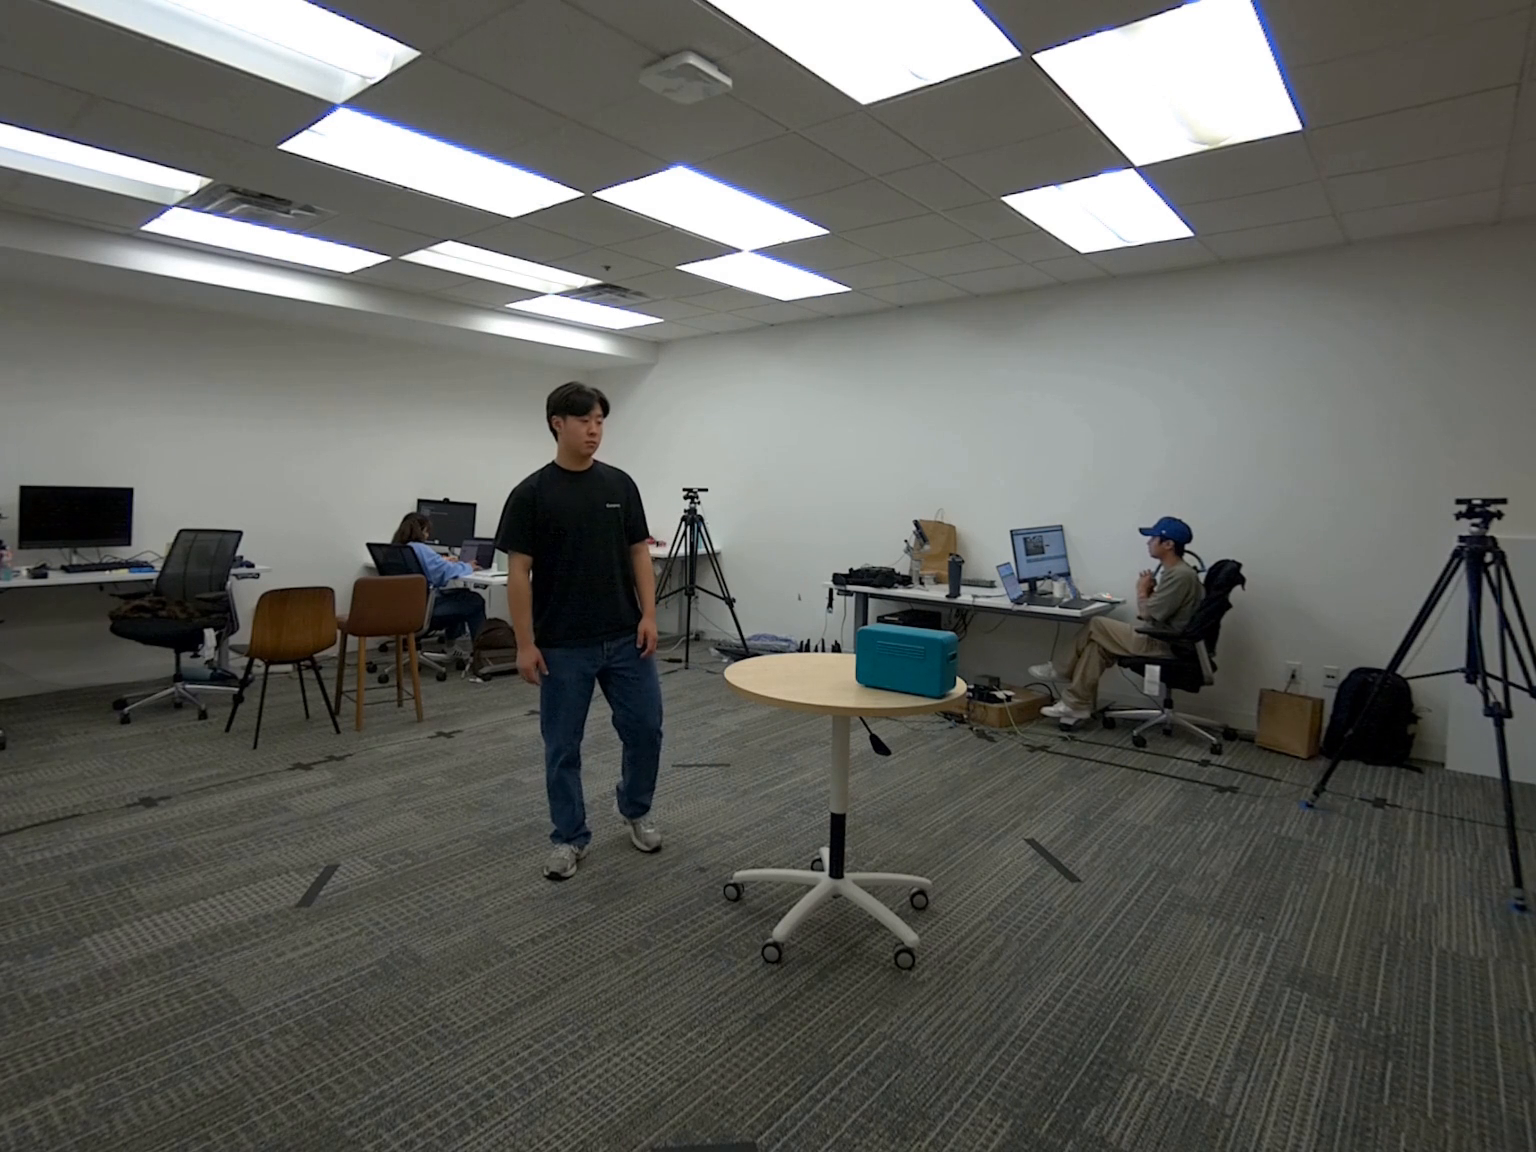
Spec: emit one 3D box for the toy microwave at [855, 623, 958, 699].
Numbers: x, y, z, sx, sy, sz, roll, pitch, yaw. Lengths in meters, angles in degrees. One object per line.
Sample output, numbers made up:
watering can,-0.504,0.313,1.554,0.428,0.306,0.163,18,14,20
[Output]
toy microwave,0.417,0.249,2.580,0.295,0.183,0.148,5,5,34
